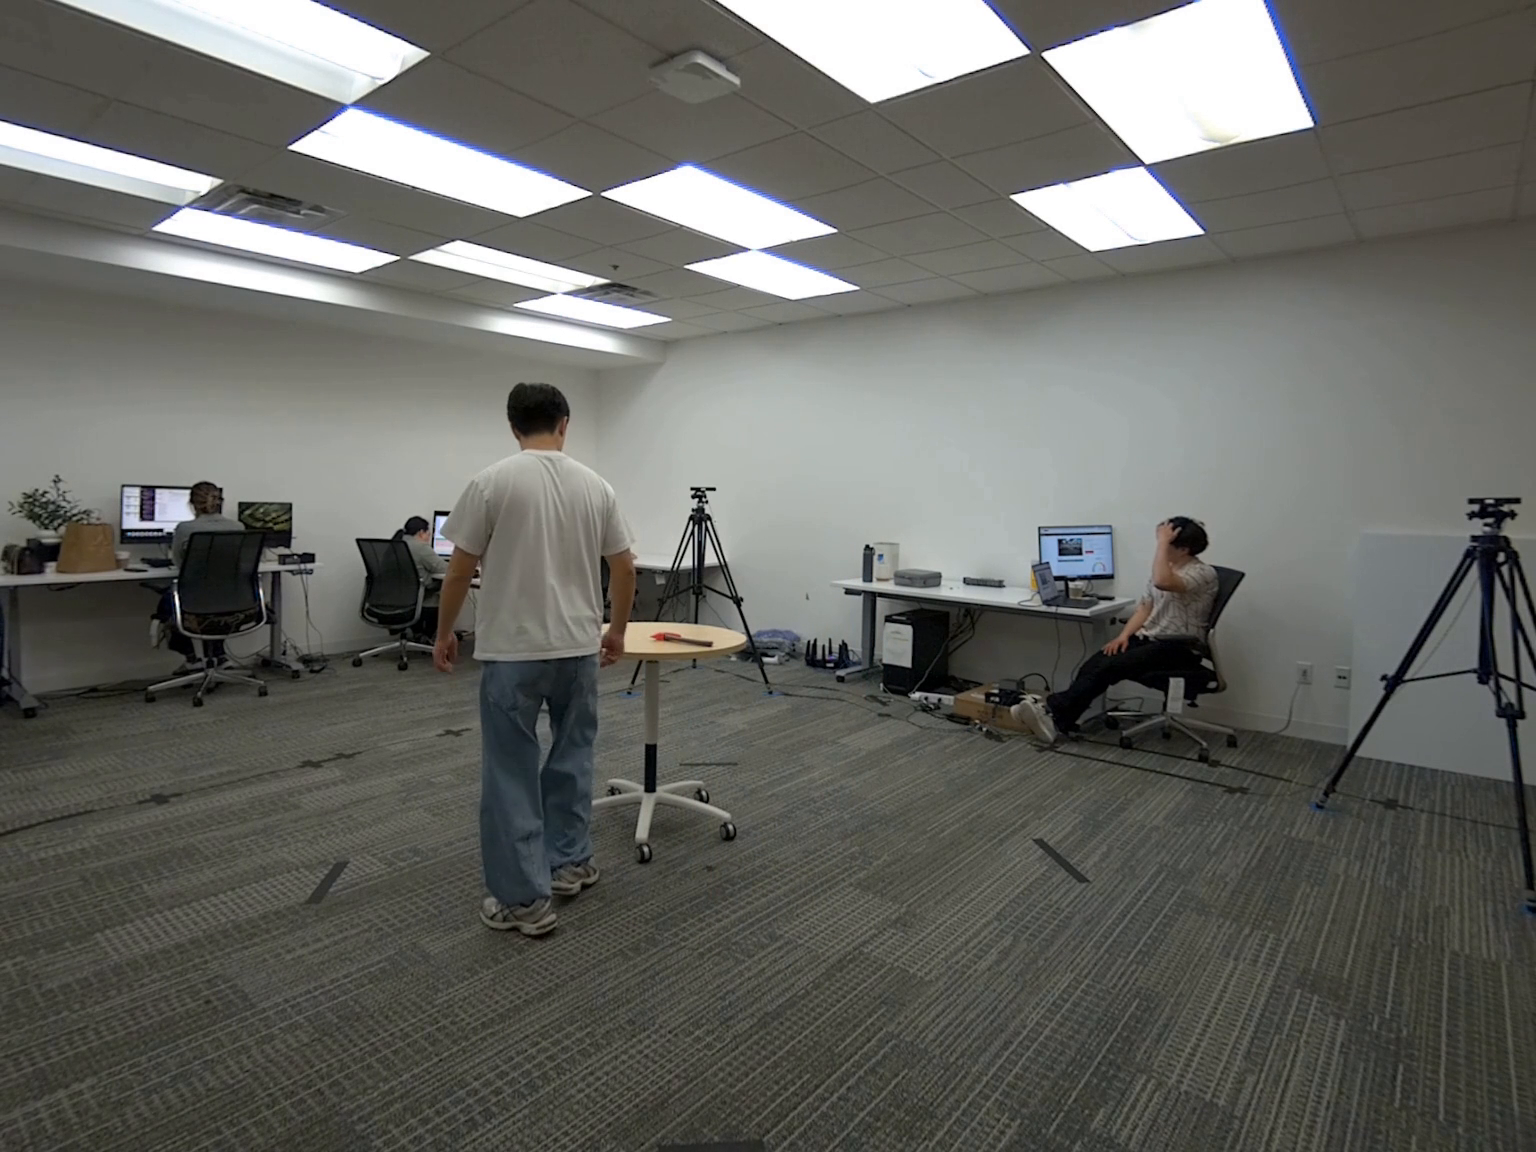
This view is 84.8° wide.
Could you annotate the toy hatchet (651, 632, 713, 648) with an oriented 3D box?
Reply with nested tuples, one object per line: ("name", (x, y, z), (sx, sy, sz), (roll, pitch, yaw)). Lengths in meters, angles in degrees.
("toy hatchet", (-0.334, 0.247, 3.353), (0.277, 0.029, 0.128), (6, 3, 24))
